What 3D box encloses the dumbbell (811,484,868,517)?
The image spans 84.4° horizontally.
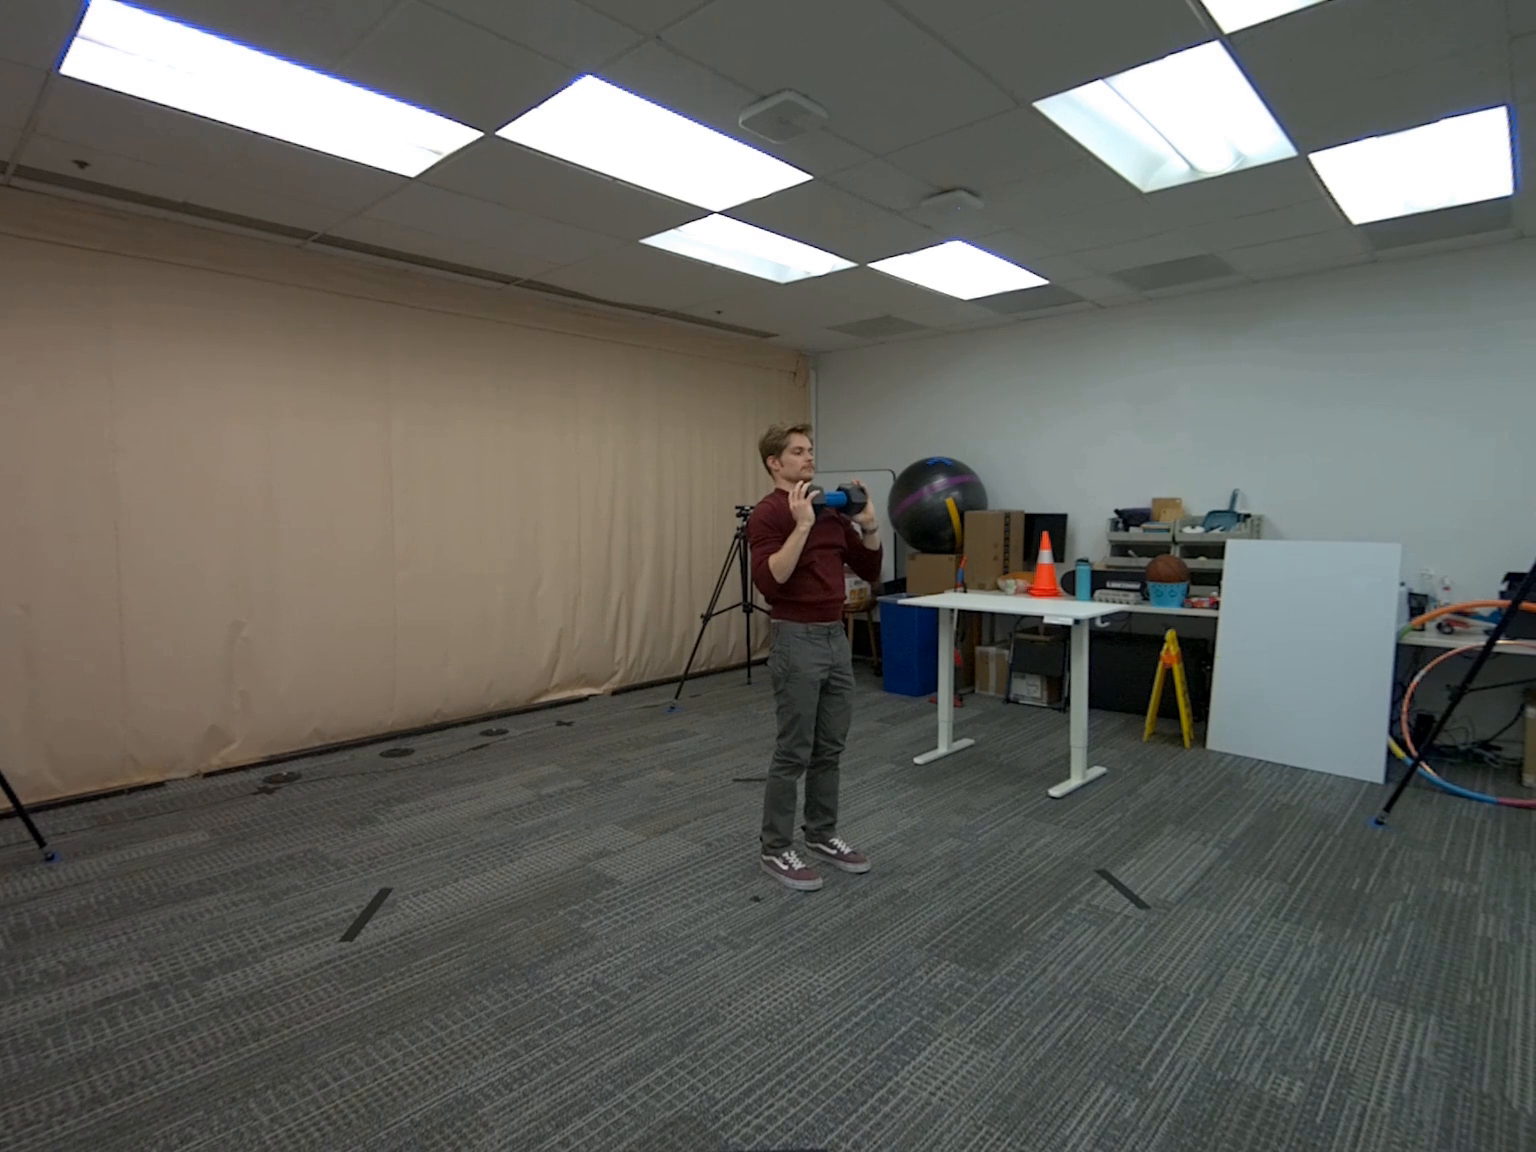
[{"bbox_3d":[0.228,-0.287,3.092,0.285,0.124,0.111,-8,-14,-40],"label":"dumbbell"}]
